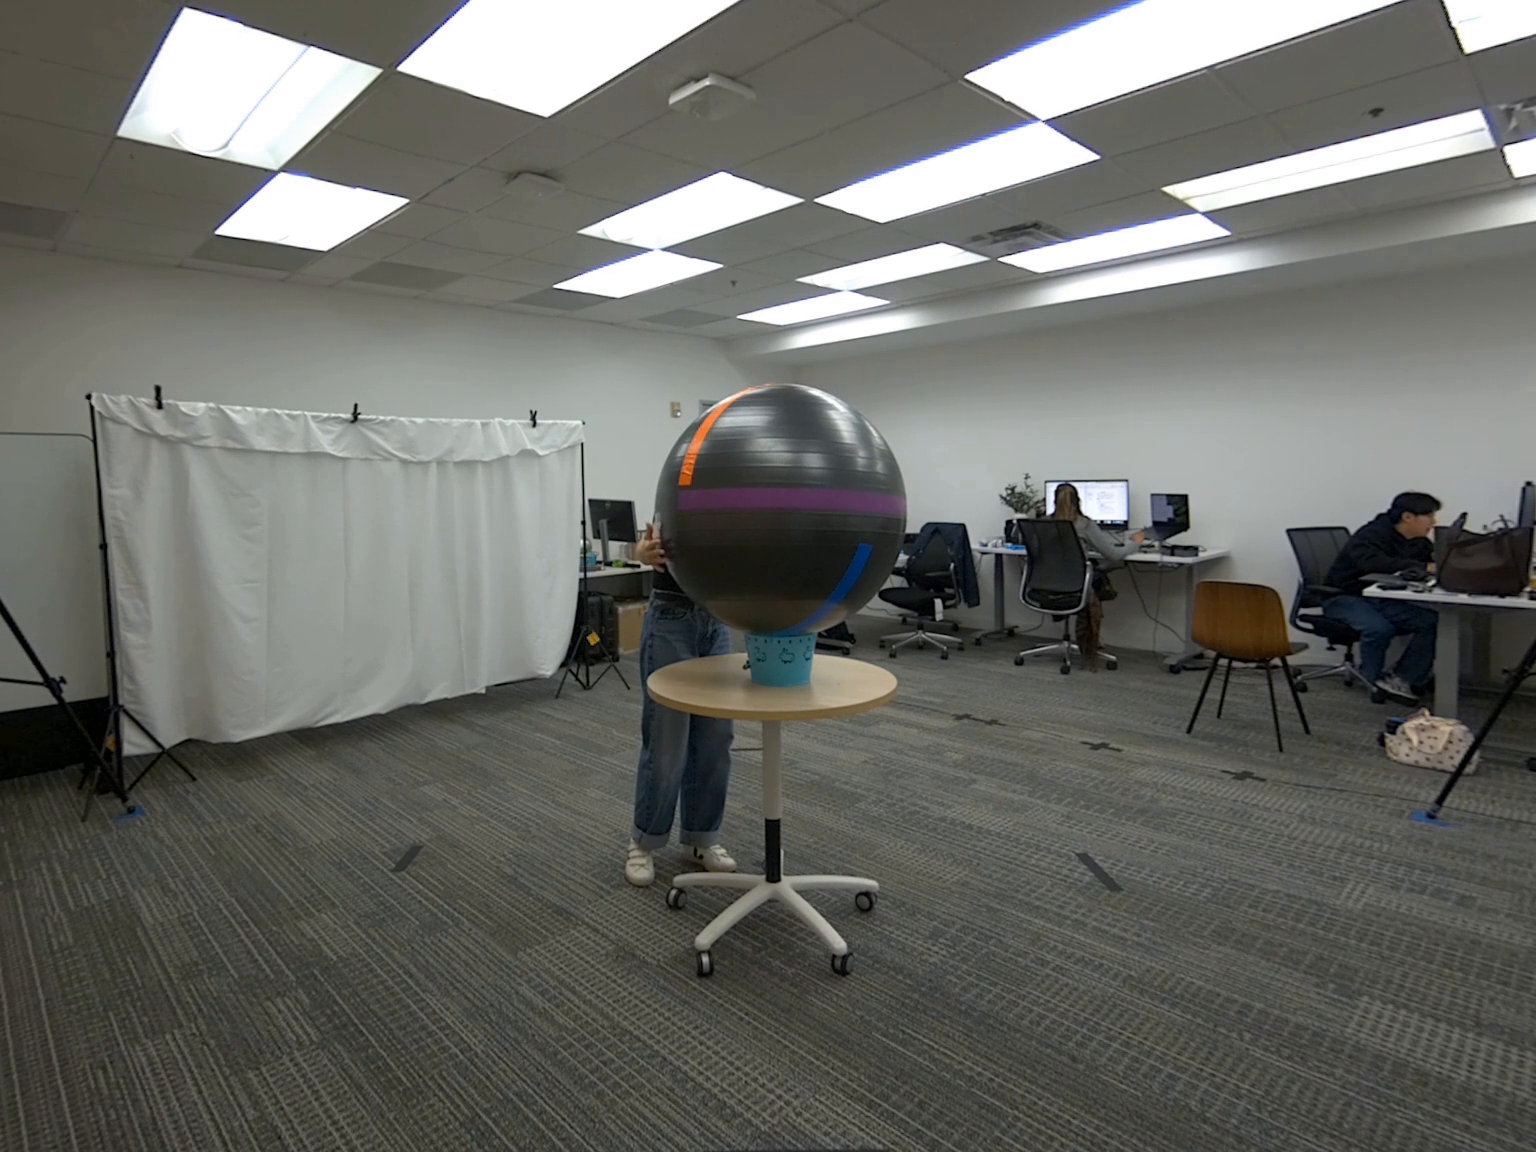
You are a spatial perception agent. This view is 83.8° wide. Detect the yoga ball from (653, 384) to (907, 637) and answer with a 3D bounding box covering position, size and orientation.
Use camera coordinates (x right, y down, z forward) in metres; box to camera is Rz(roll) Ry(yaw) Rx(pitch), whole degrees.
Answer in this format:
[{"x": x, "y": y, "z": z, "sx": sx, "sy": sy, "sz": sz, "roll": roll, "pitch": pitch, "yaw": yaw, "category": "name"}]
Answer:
[{"x": 0.040, "y": -0.194, "z": 2.580, "sx": 0.757, "sy": 0.755, "sz": 0.762, "roll": -1, "pitch": 5, "yaw": -2, "category": "yoga ball"}]
